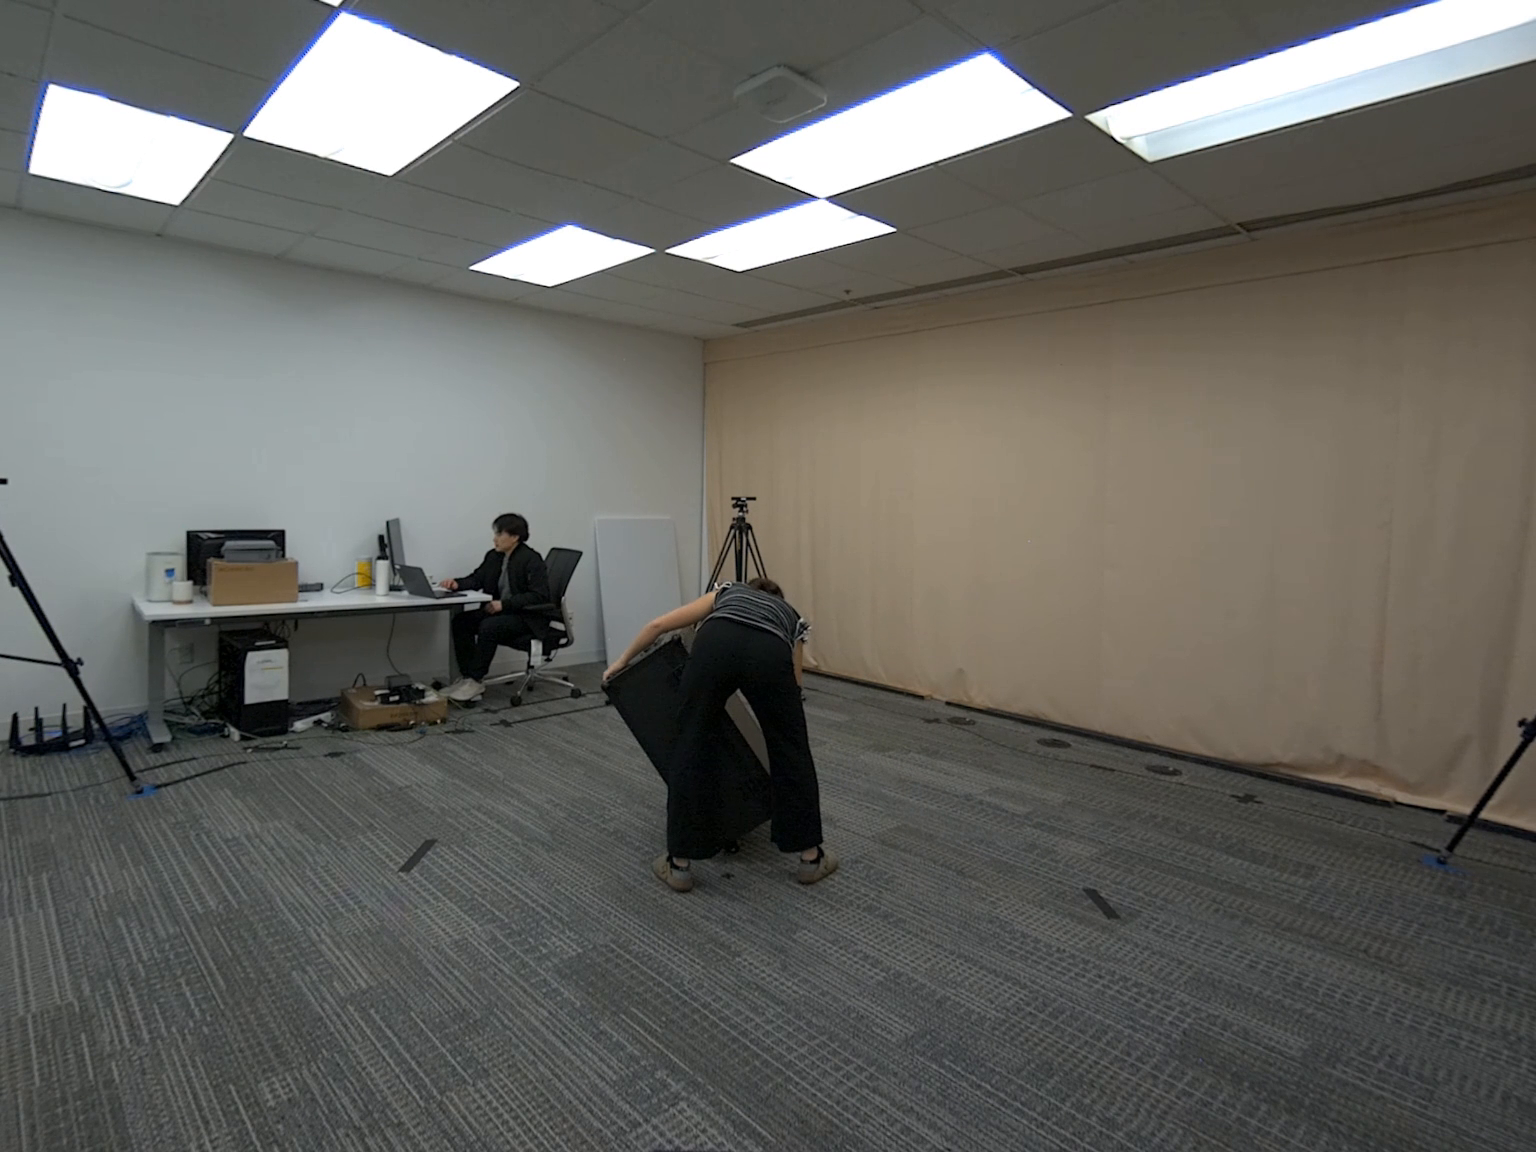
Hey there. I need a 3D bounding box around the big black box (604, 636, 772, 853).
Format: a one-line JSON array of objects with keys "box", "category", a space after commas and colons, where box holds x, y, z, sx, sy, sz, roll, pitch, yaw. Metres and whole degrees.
[{"box": [-0.279, 0.663, 3.440, 0.396, 0.861, 0.521, -33, 1, 2], "category": "big black box"}]
